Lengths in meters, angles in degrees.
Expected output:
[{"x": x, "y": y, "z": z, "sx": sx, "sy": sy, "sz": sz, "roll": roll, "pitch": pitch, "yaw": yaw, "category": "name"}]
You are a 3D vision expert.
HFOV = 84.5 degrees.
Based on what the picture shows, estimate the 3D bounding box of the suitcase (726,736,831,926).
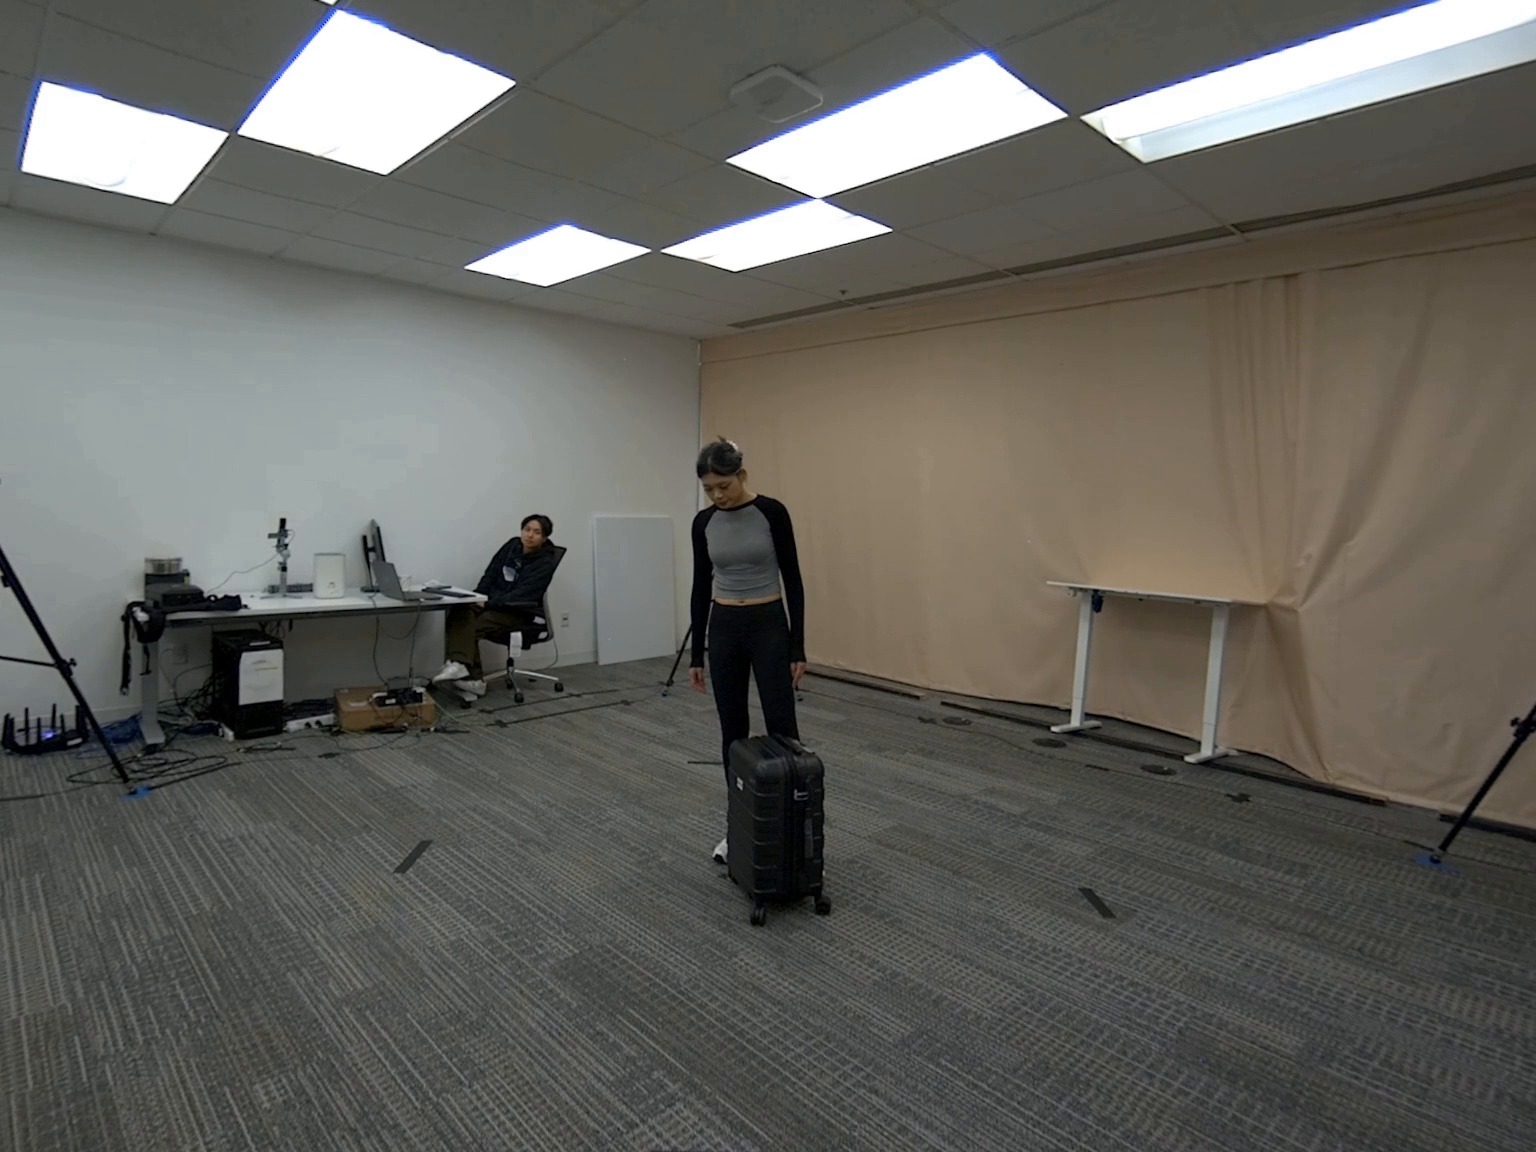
[{"x": 0.015, "y": 0.848, "z": 2.926, "sx": 0.245, "sy": 0.548, "sz": 0.381, "roll": 0, "pitch": 3, "yaw": -19, "category": "suitcase"}]
